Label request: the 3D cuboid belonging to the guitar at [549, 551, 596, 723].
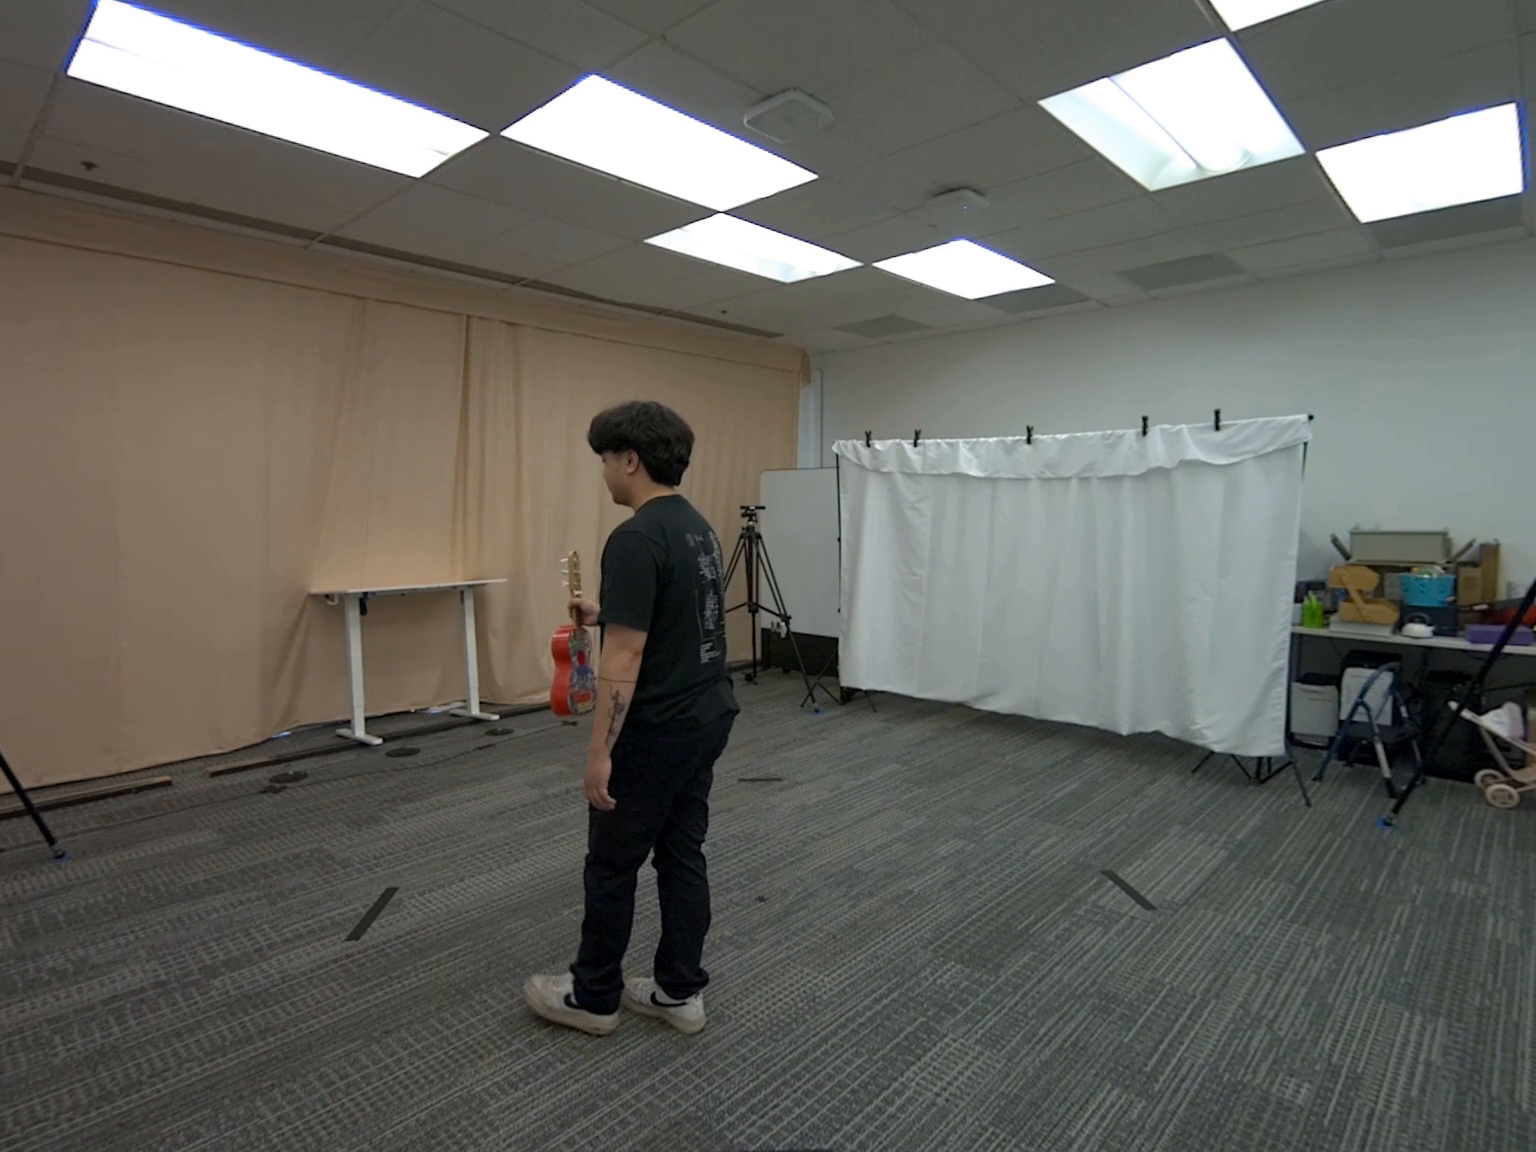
[{"bbox_3d":[-0.595,0.184,2.602,0.072,0.501,0.188,-5,-10,17],"label":"guitar"}]
